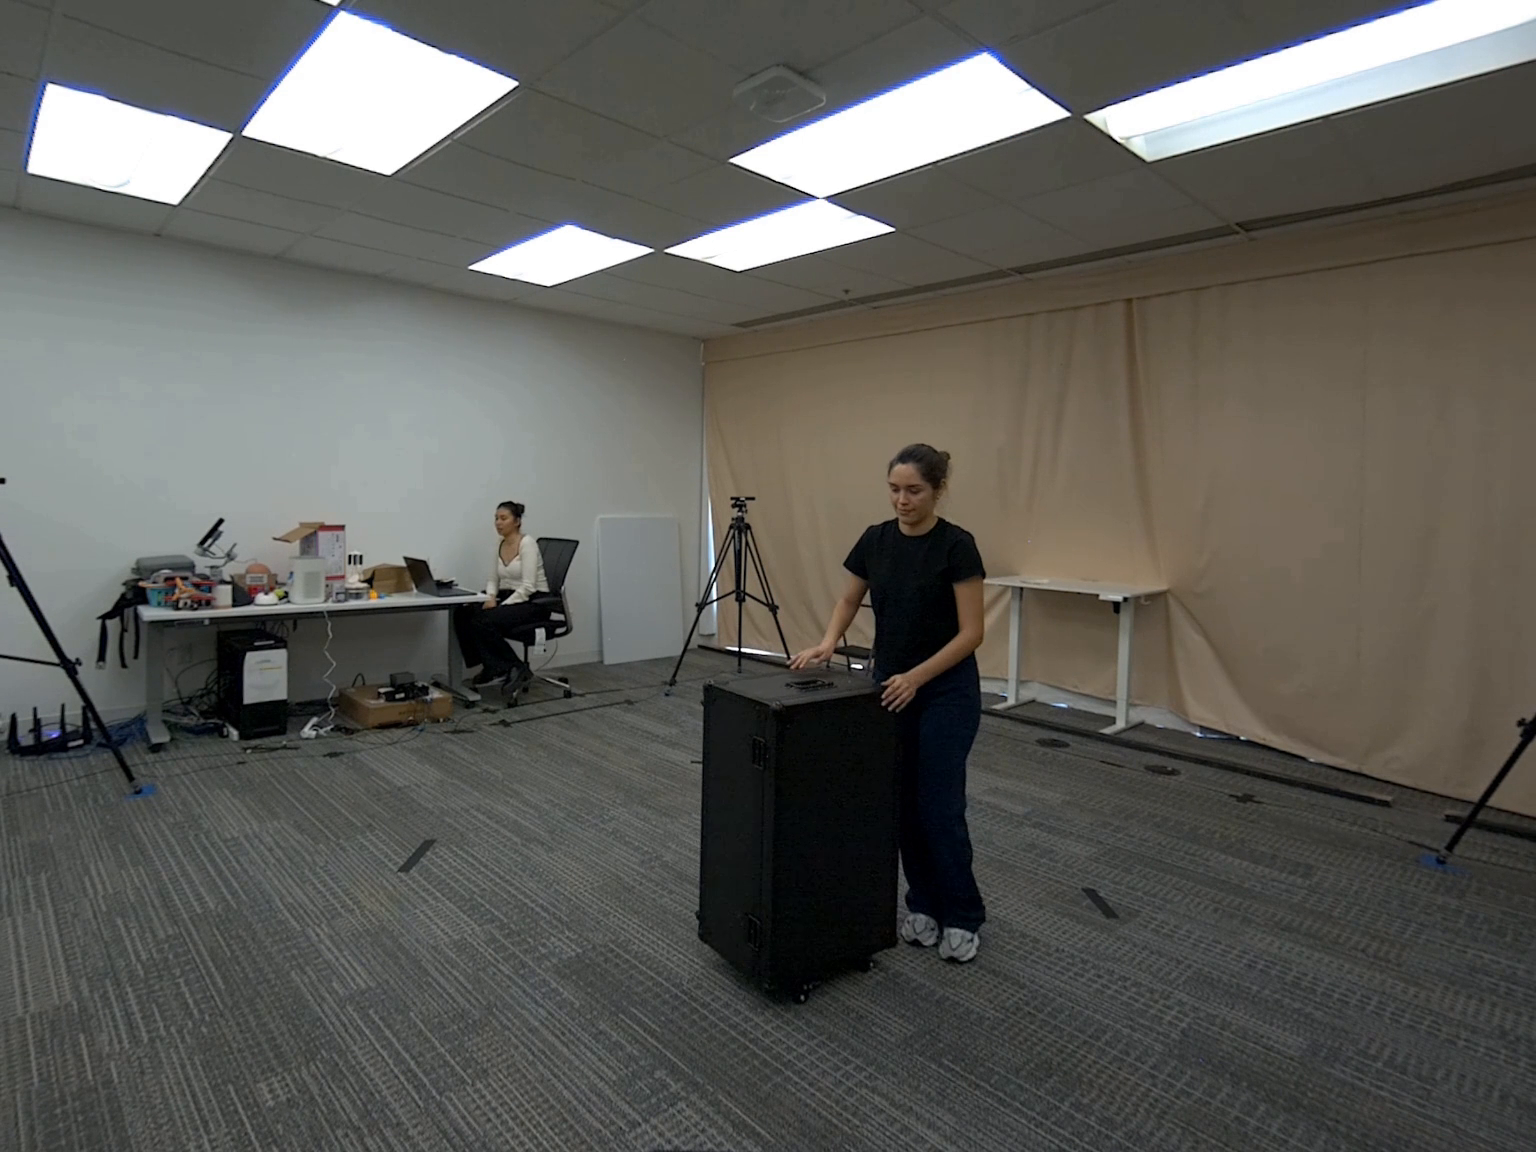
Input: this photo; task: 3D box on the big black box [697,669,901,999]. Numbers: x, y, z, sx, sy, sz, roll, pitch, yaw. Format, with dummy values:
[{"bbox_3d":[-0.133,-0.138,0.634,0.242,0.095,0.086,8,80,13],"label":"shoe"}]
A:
[{"bbox_3d":[0.082,0.745,2.488,0.510,0.860,0.406,-1,3,-35],"label":"big black box"}]
